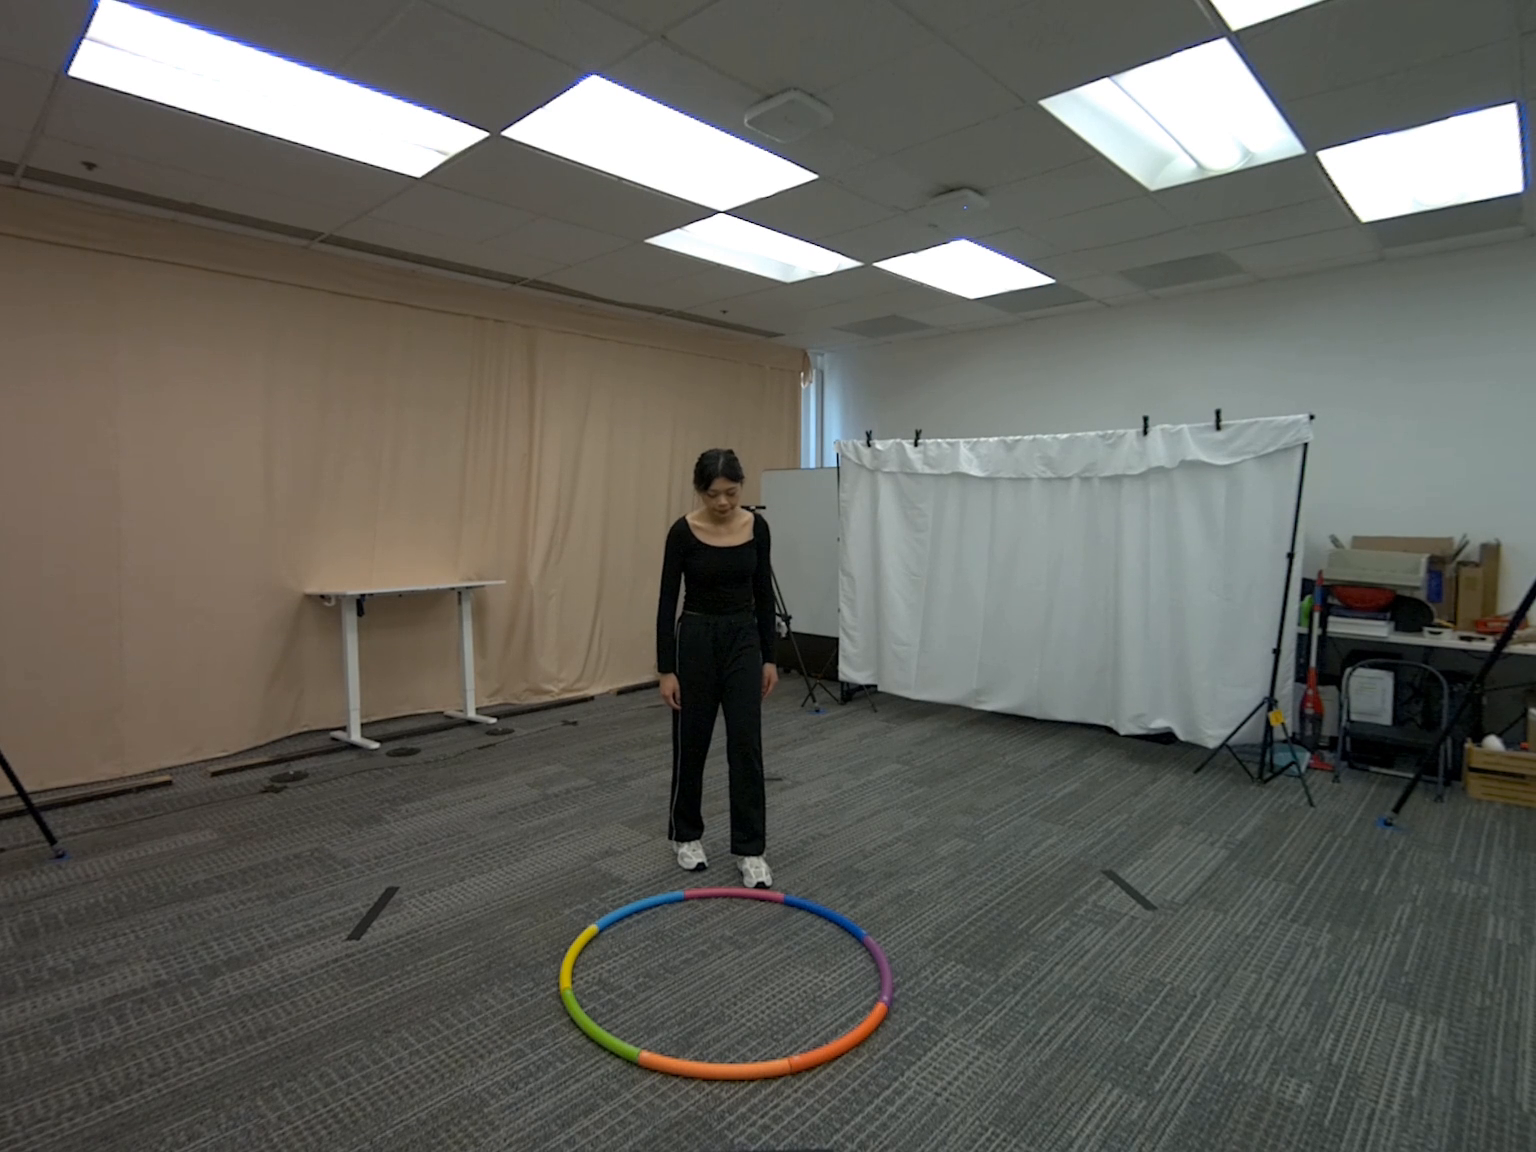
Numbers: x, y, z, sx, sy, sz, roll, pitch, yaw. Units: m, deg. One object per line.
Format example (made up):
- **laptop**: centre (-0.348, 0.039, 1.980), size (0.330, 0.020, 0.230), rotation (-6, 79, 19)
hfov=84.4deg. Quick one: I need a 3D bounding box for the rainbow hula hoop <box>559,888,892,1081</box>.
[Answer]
- **rainbow hula hoop**: centre (-0.124, 1.153, 2.530), size (0.978, 0.035, 0.982), rotation (0, 4, -2)
